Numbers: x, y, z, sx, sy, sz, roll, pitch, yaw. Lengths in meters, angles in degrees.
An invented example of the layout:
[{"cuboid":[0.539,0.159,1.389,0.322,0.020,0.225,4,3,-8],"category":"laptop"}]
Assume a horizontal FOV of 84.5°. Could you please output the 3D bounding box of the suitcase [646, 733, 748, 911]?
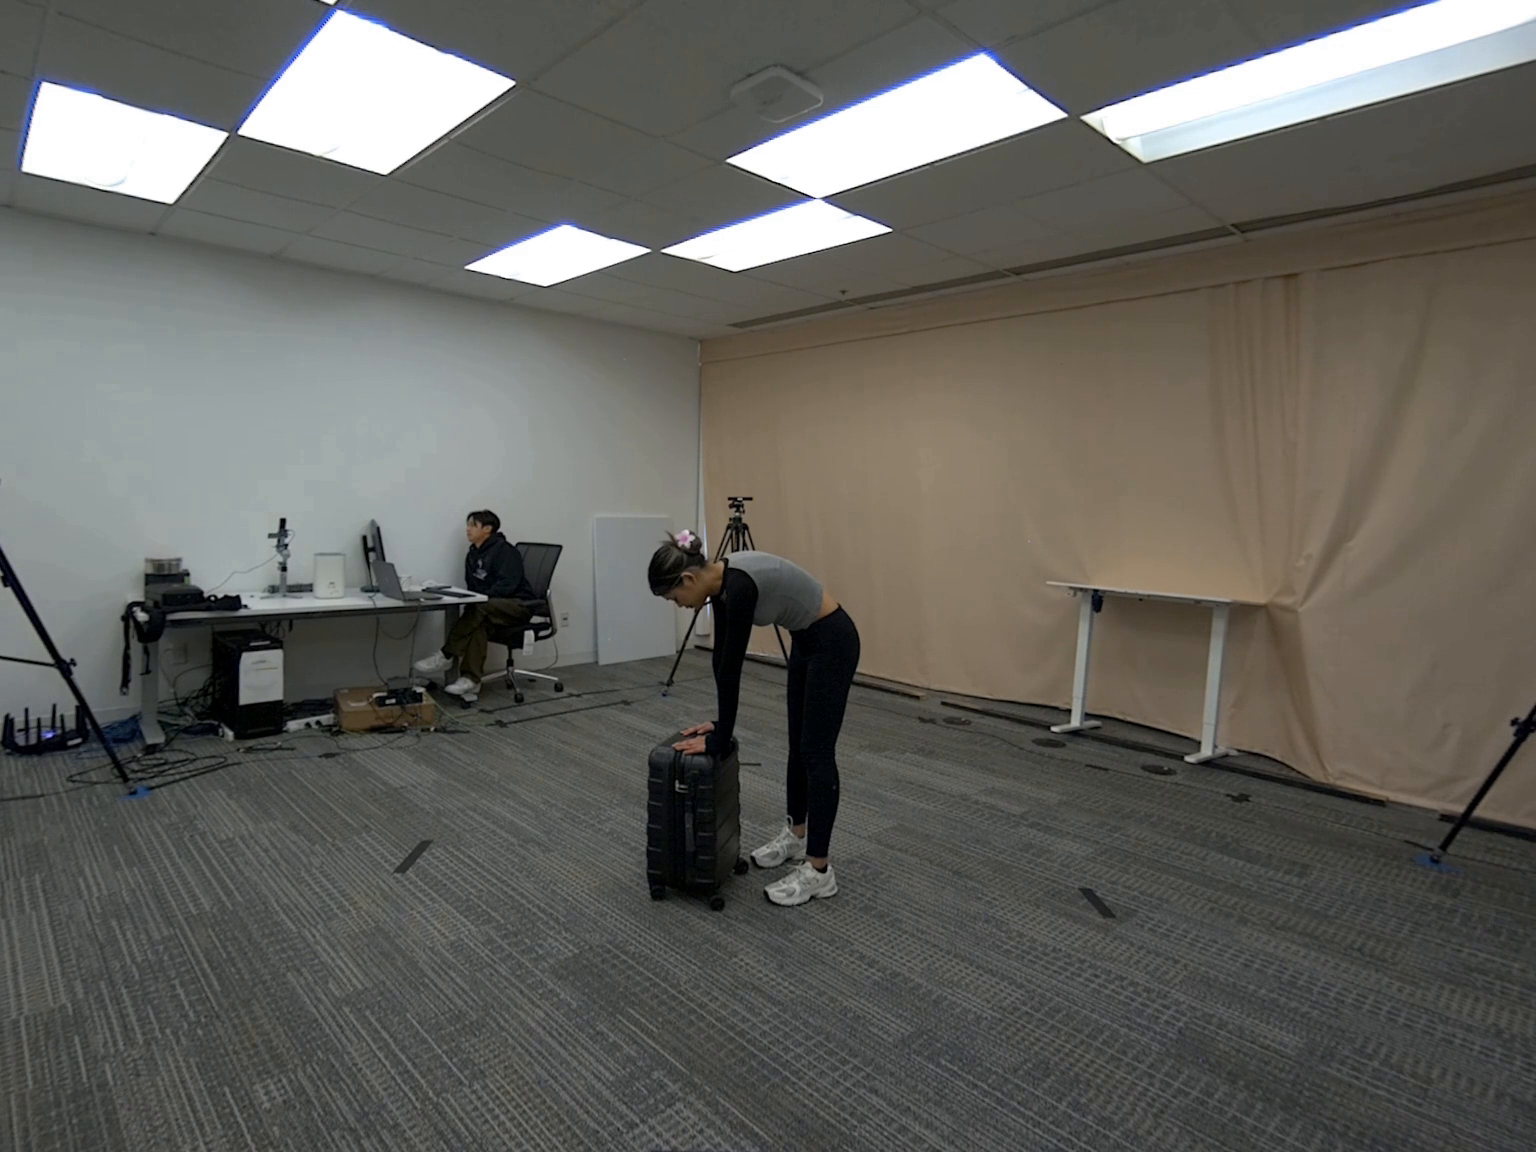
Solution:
[{"cuboid":[-0.262,0.840,3.005,0.252,0.548,0.371,1,3,18],"category":"suitcase"}]
